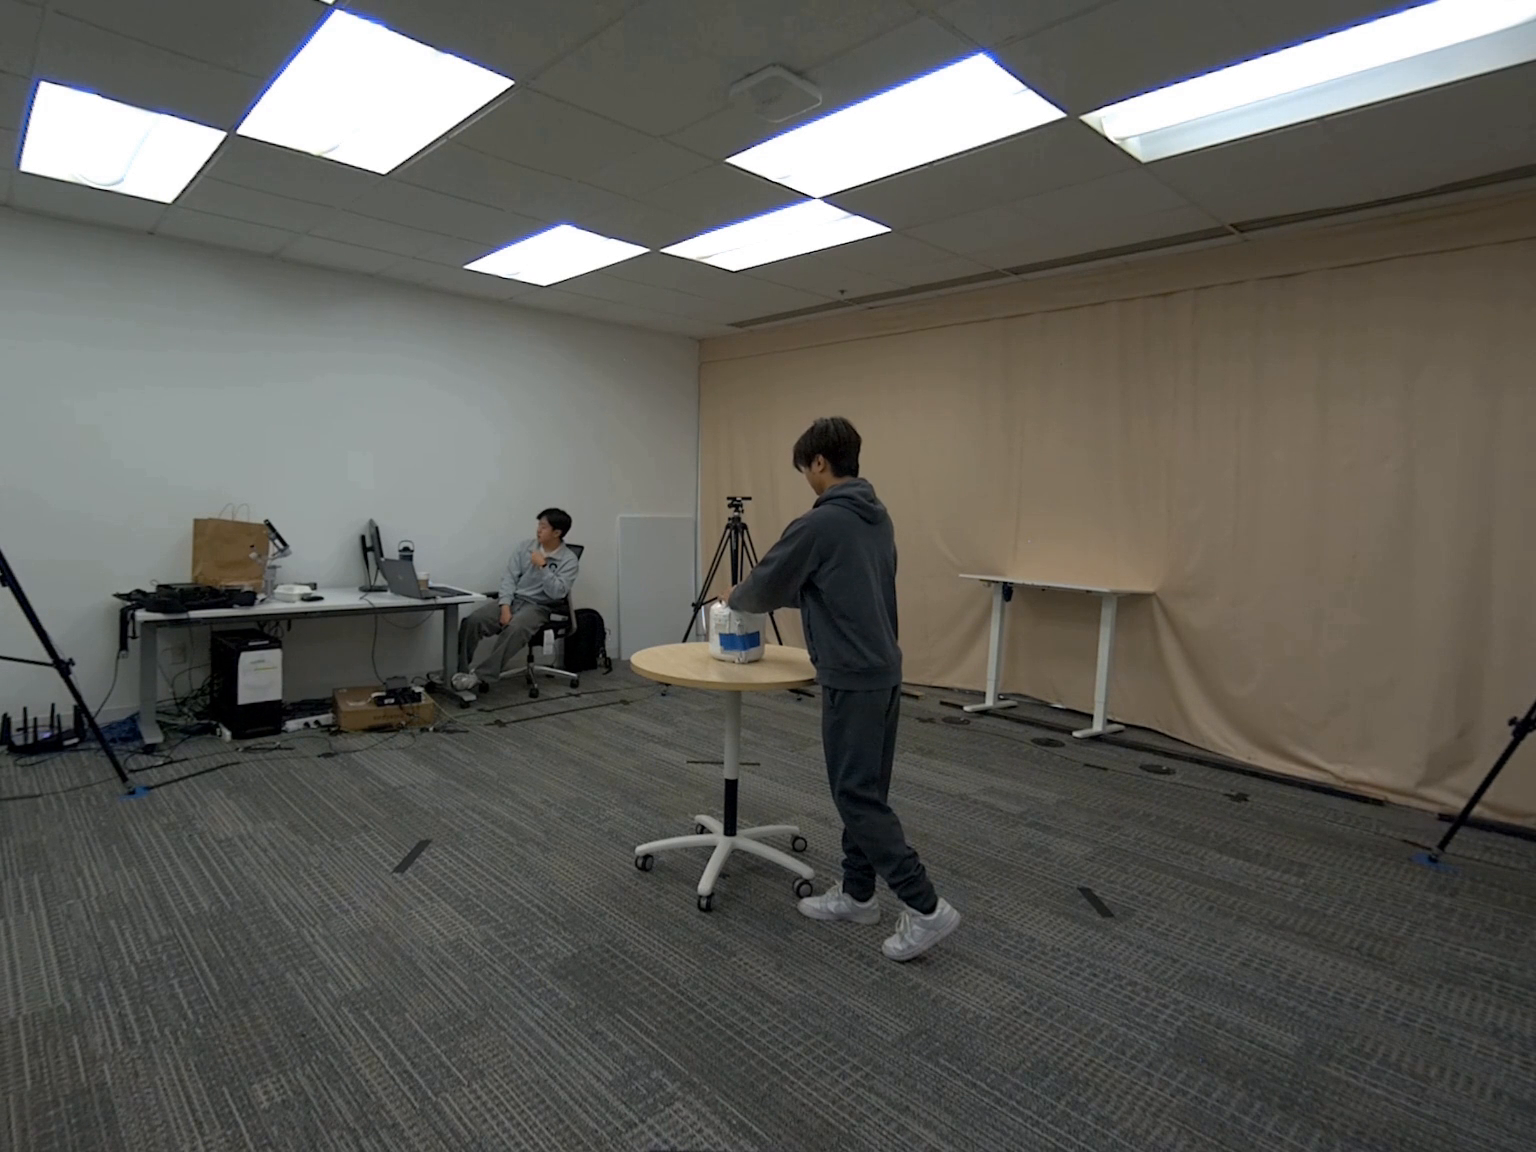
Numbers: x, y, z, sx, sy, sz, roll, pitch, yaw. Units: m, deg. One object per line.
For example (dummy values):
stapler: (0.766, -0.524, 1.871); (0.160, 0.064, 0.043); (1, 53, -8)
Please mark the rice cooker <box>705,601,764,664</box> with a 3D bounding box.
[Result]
rice cooker: (-0.117, 0.190, 3.120); (0.223, 0.232, 0.216); (7, 6, 35)
